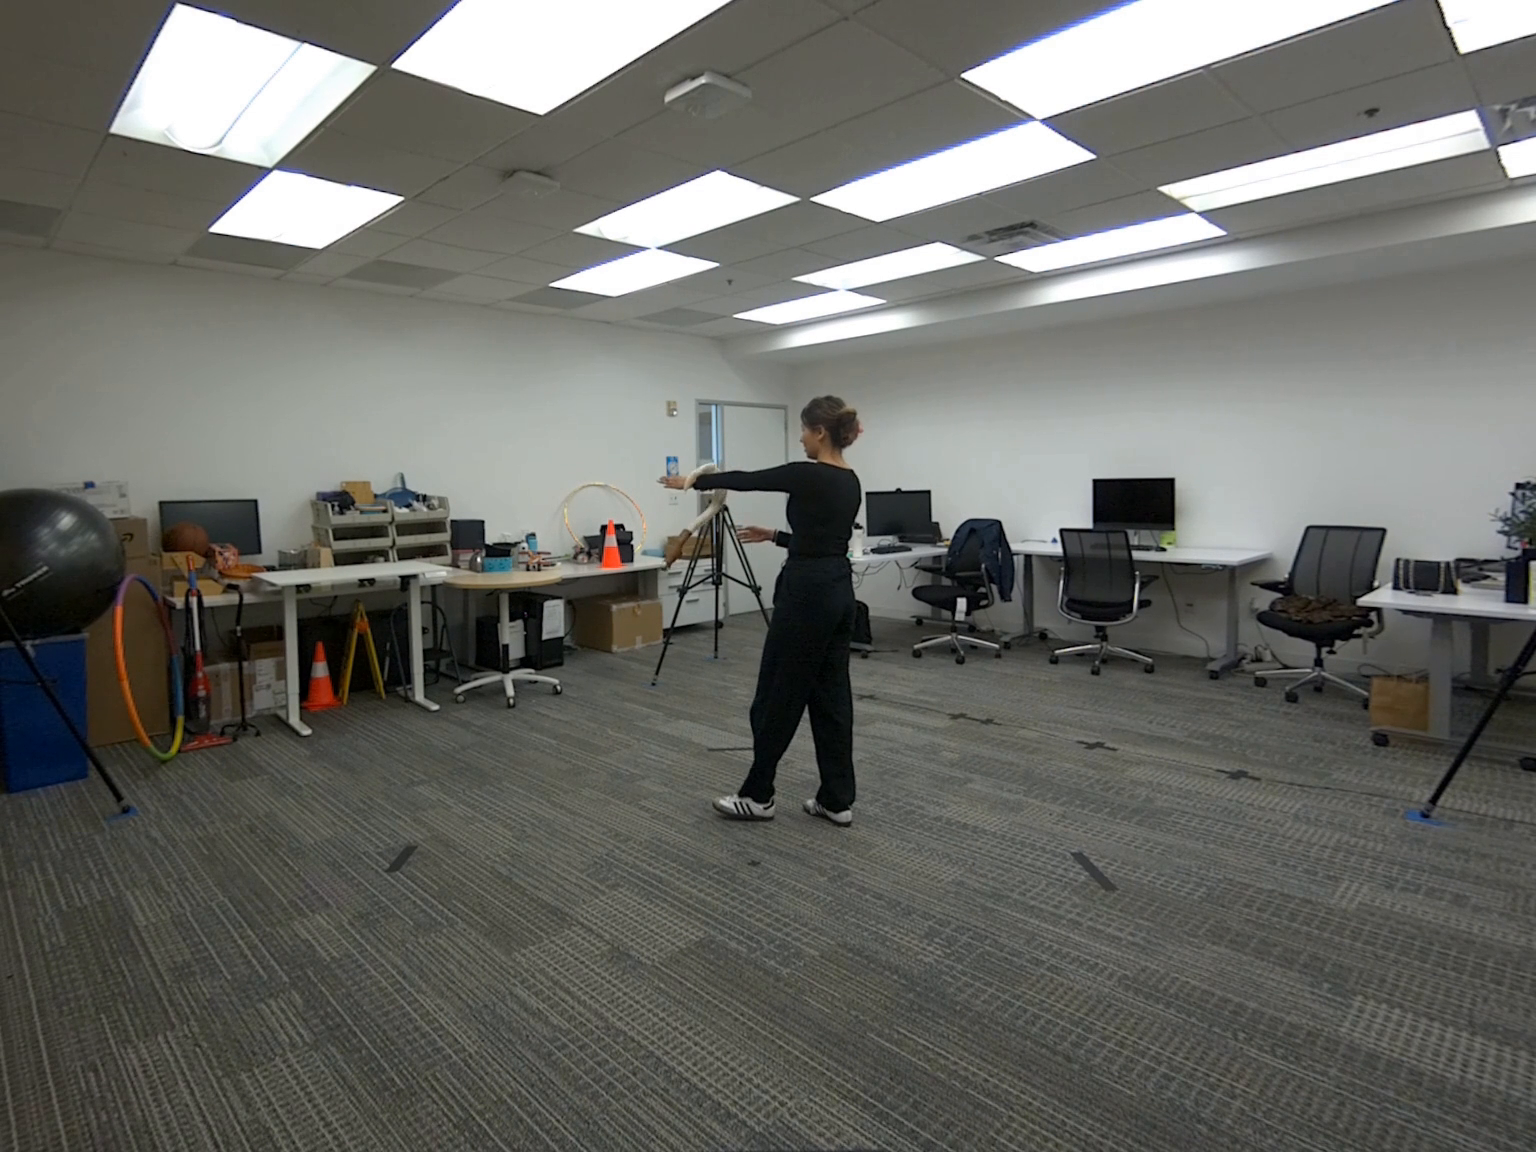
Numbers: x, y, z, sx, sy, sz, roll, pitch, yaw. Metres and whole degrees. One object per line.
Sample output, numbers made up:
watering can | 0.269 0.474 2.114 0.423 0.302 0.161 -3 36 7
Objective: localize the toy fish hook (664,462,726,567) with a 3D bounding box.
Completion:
toy fish hook | -0.326 -0.253 3.547 0.050 0.510 0.217 -1 -40 47
